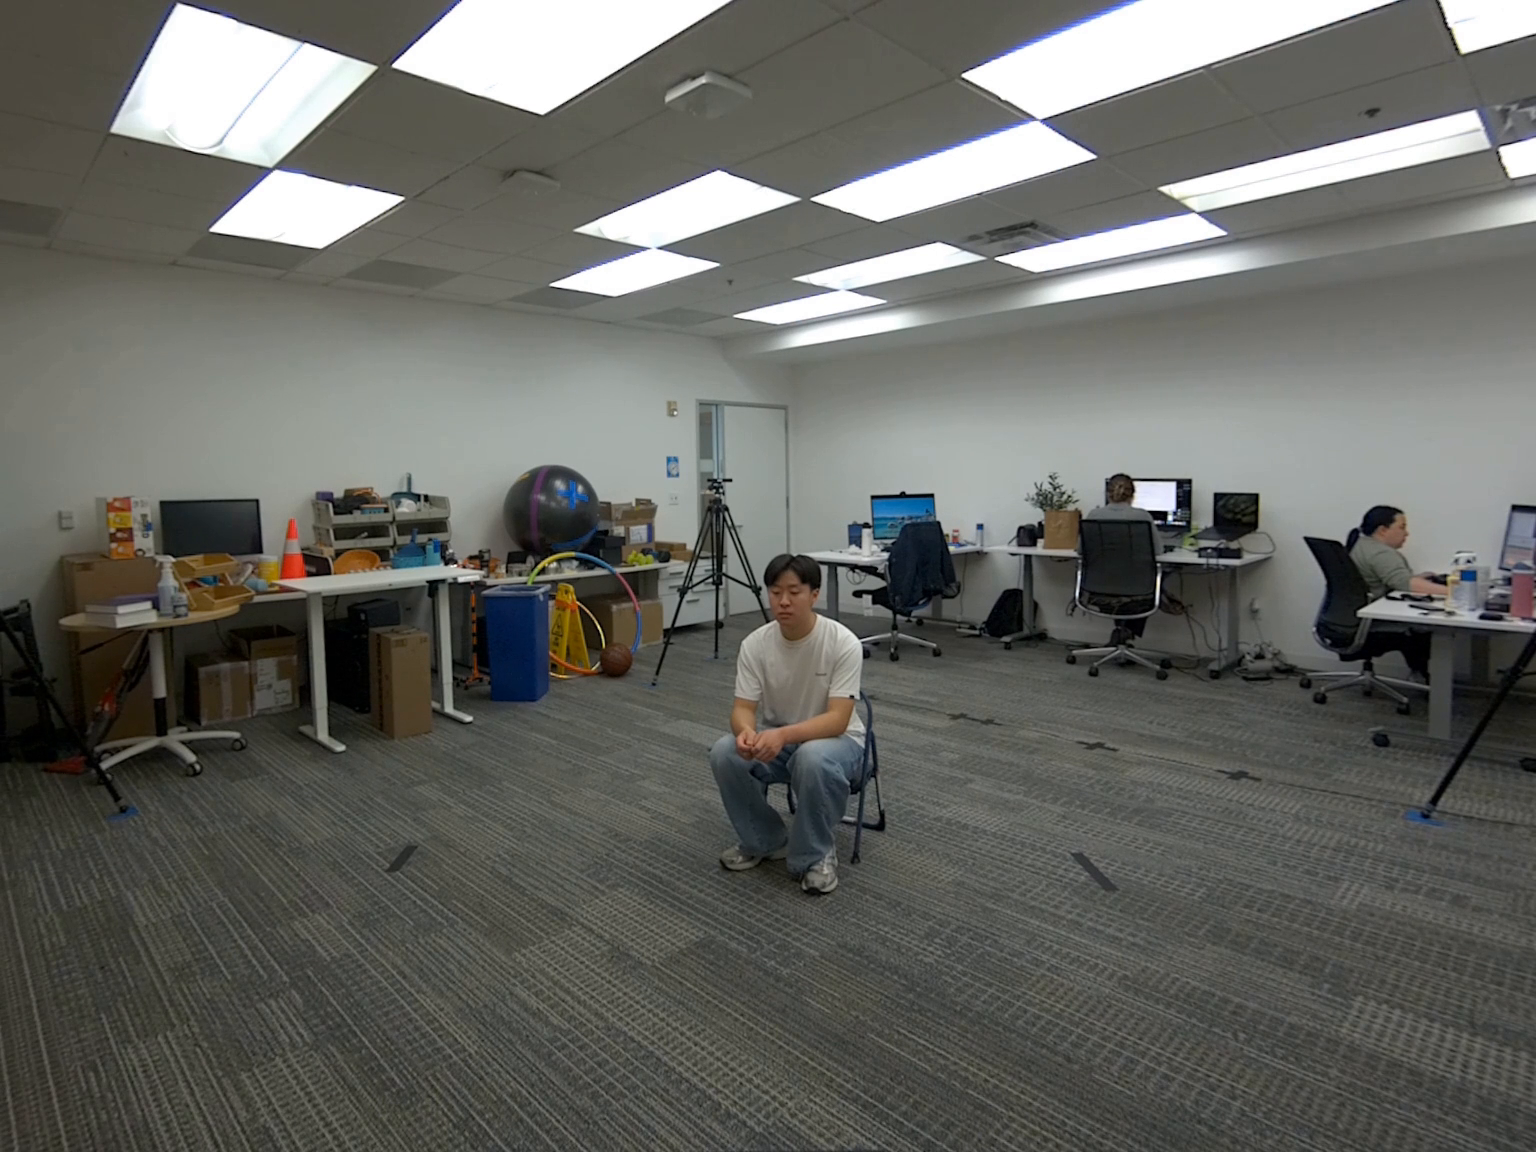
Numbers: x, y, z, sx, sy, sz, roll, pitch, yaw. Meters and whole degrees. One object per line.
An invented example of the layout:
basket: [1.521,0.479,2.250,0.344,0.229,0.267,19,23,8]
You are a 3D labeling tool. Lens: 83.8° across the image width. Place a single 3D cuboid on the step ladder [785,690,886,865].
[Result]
step ladder: [0.214,0.717,3.327,0.442,0.604,0.342,2,5,28]
